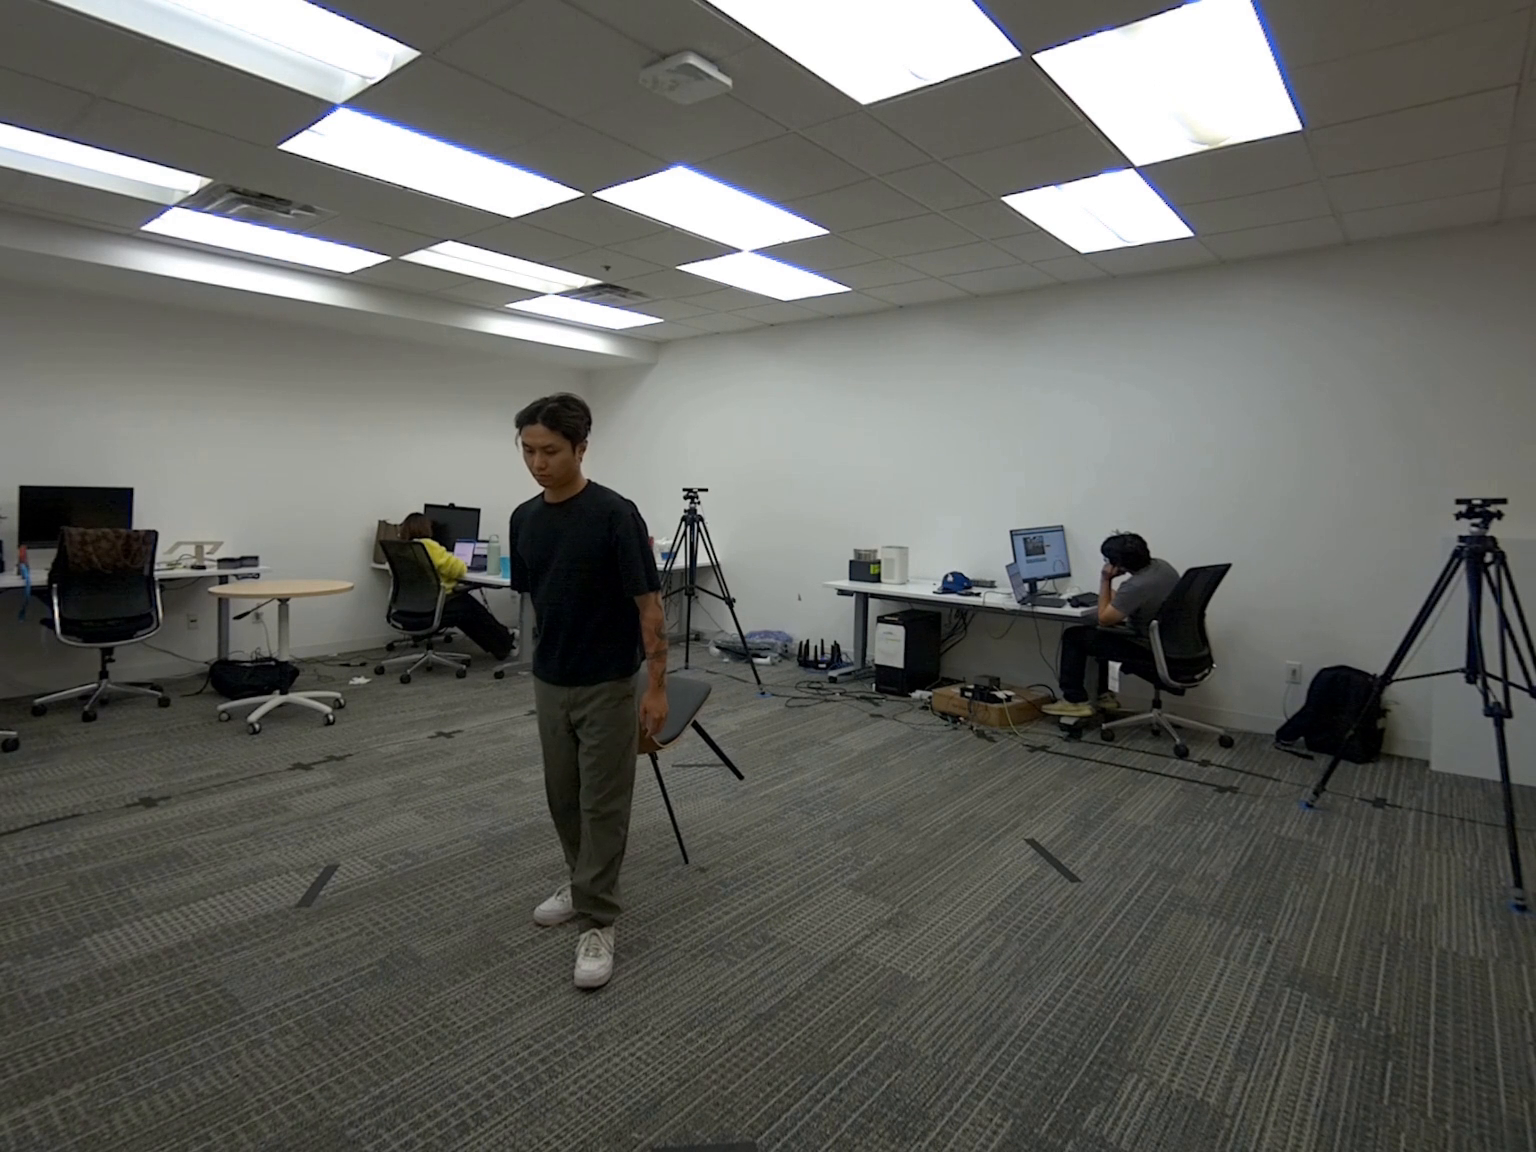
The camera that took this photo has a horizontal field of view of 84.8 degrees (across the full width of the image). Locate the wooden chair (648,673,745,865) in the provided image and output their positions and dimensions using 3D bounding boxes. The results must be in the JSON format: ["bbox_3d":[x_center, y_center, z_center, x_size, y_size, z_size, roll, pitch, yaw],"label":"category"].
[{"bbox_3d":[-0.491,0.559,3.245,0.493,0.849,0.524,3,37,32],"label":"wooden chair"}]
